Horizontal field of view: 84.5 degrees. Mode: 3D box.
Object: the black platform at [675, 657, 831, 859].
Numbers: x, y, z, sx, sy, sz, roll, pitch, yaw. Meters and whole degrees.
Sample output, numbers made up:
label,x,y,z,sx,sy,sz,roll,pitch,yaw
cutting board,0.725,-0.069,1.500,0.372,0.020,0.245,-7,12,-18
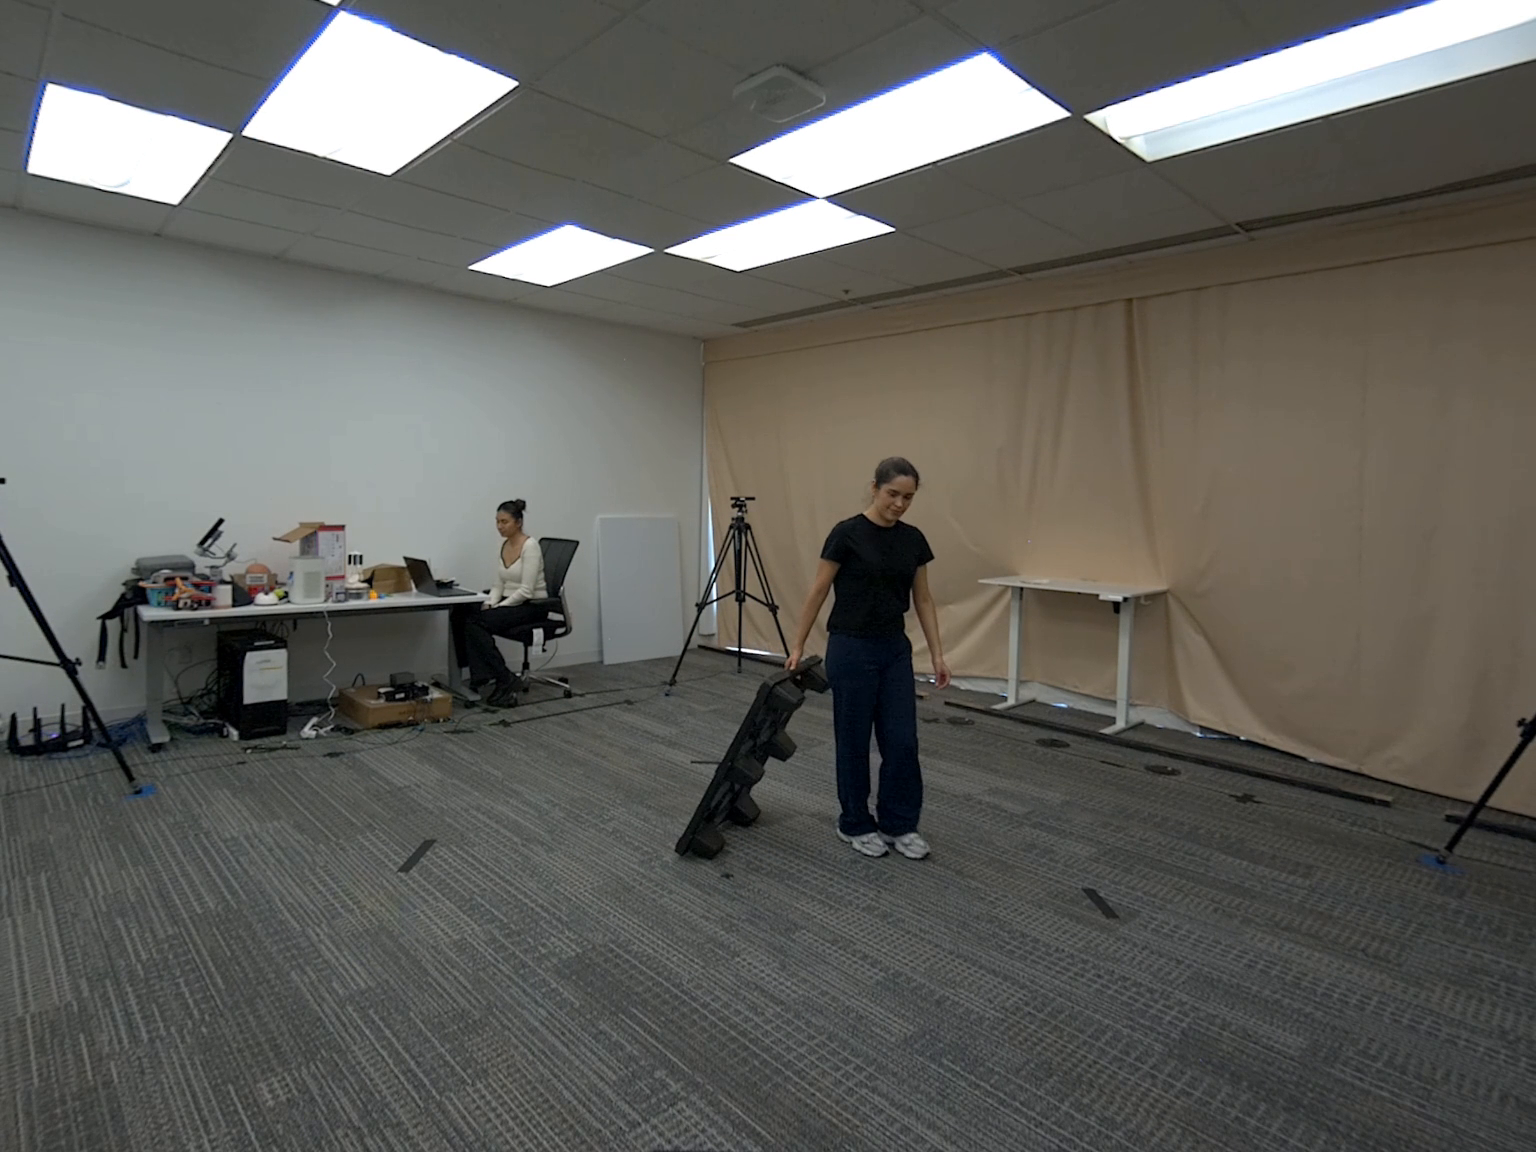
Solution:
label,x,y,z,sx,sy,sz,roll,pitch,yaw
black platform,-0.032,0.731,3.370,0.146,0.802,0.597,31,13,16
